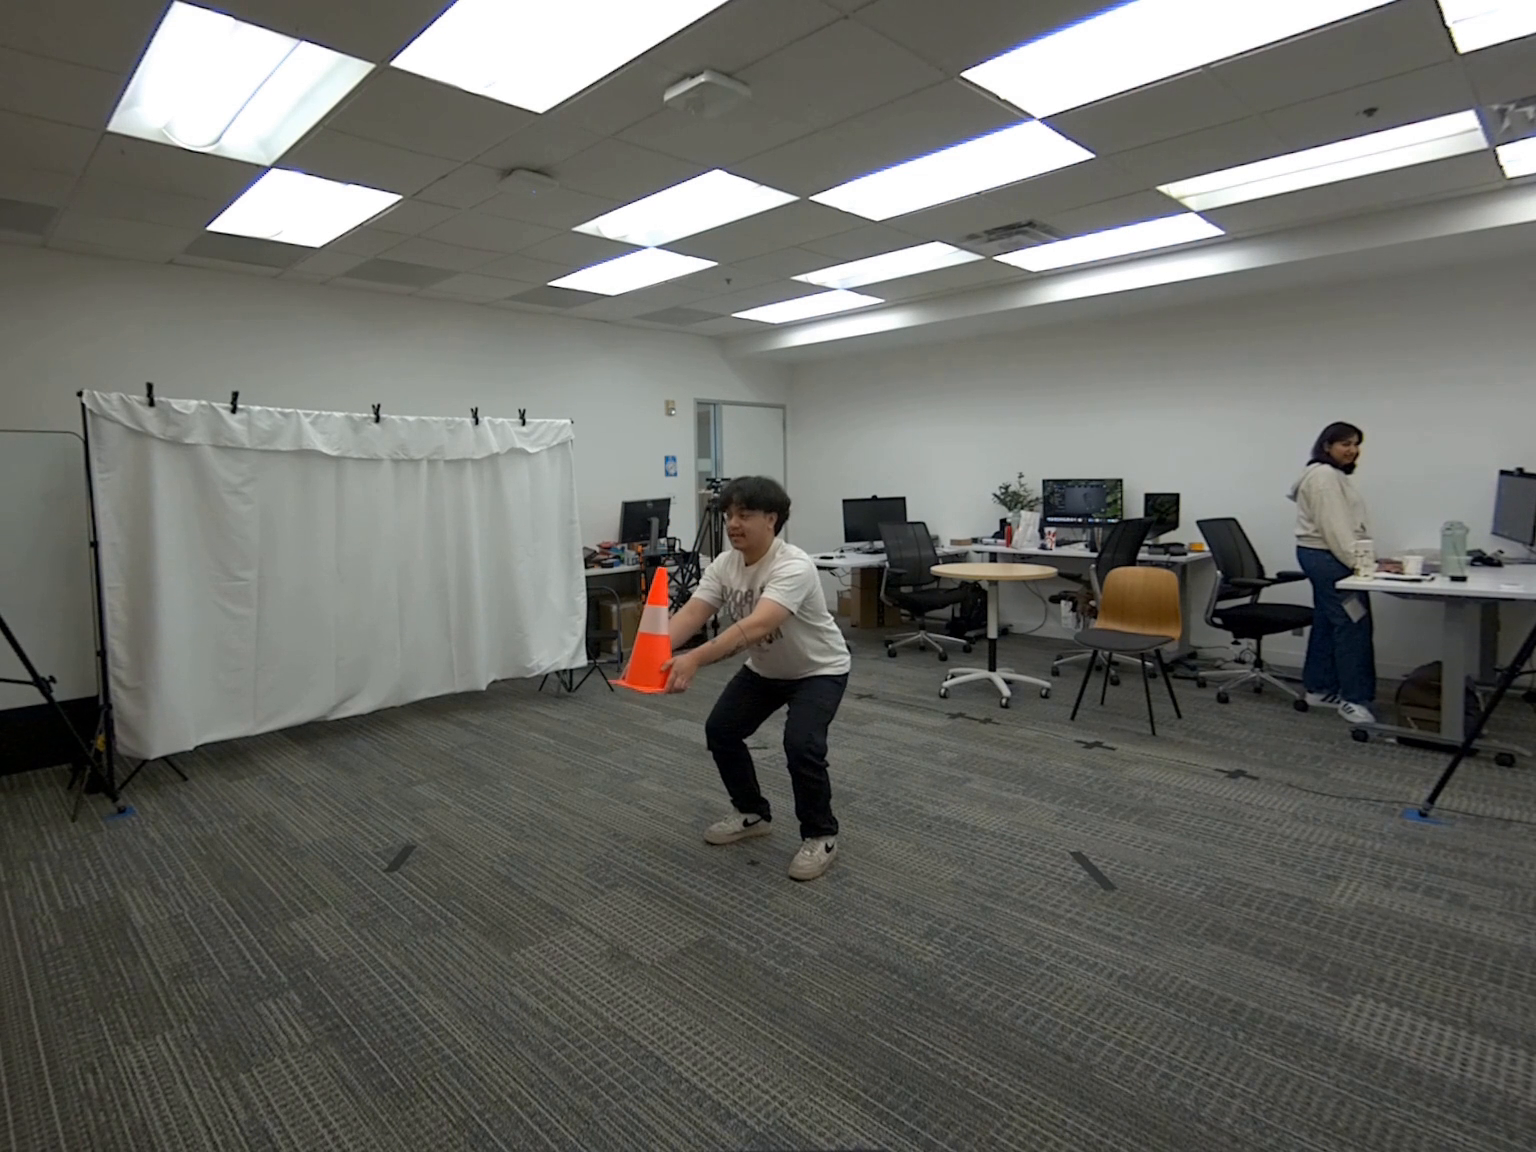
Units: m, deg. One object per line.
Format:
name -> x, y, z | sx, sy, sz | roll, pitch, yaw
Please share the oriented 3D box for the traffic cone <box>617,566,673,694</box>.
traffic cone -> -0.360, 0.164, 2.749 | 0.210, 0.384, 0.197 | 2, -2, 31
